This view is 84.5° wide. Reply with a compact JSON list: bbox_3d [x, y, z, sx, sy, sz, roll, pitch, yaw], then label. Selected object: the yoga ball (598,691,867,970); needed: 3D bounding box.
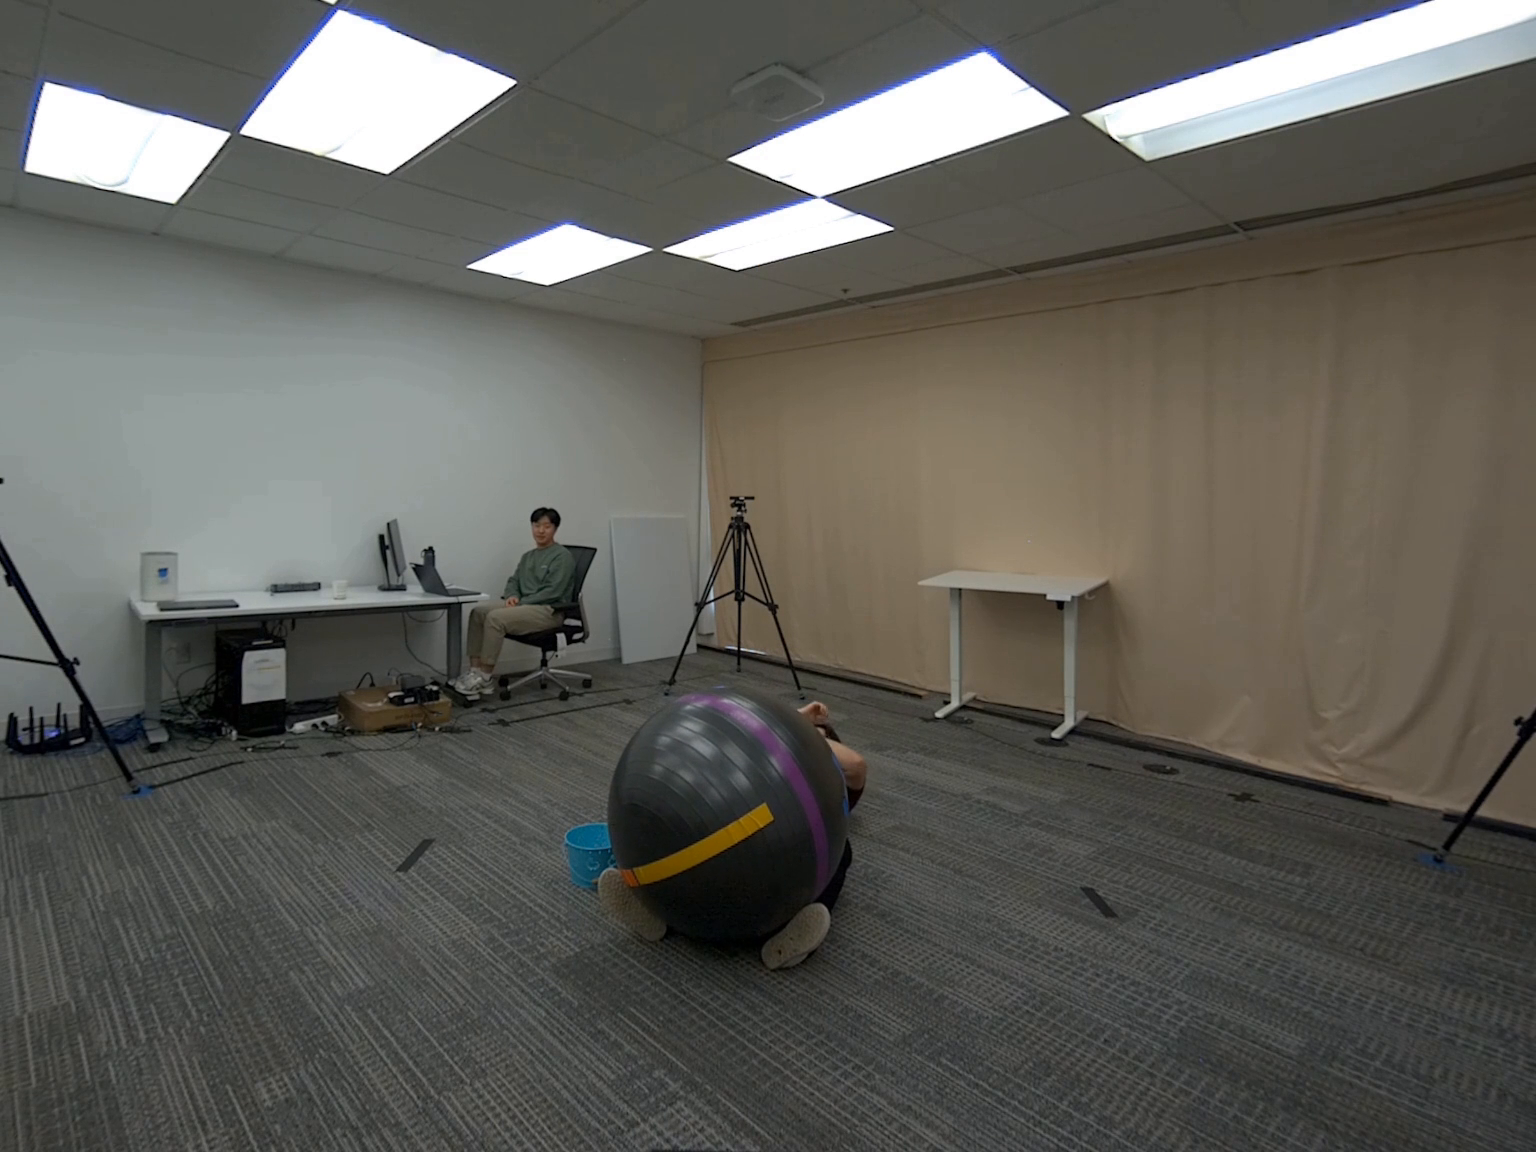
[{"bbox_3d":[-0.128,0.736,2.652,0.757,0.756,0.761,1,4,-1],"label":"yoga ball"}]
